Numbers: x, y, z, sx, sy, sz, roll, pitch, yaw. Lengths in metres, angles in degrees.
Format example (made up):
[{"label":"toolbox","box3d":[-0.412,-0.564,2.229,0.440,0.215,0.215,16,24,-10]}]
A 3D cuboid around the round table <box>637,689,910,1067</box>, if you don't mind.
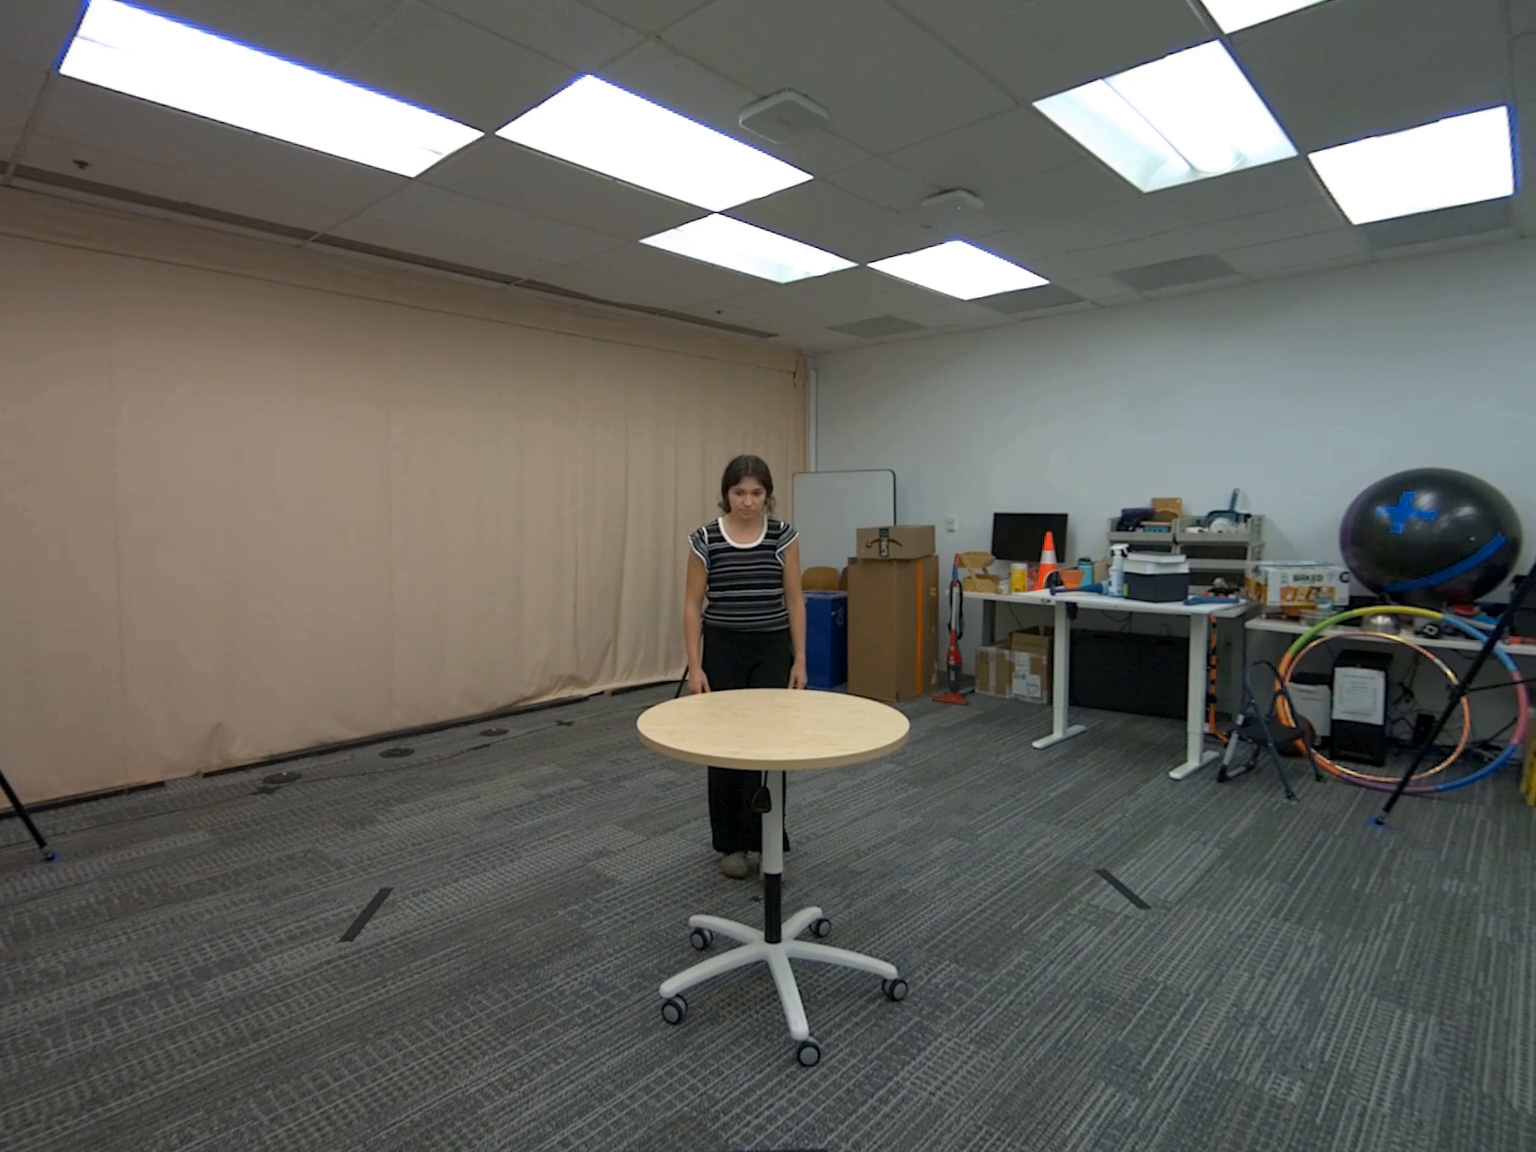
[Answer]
[{"label":"round table","box3d":[0.014,0.792,2.433,0.784,0.785,0.788,0,4,-2]}]
